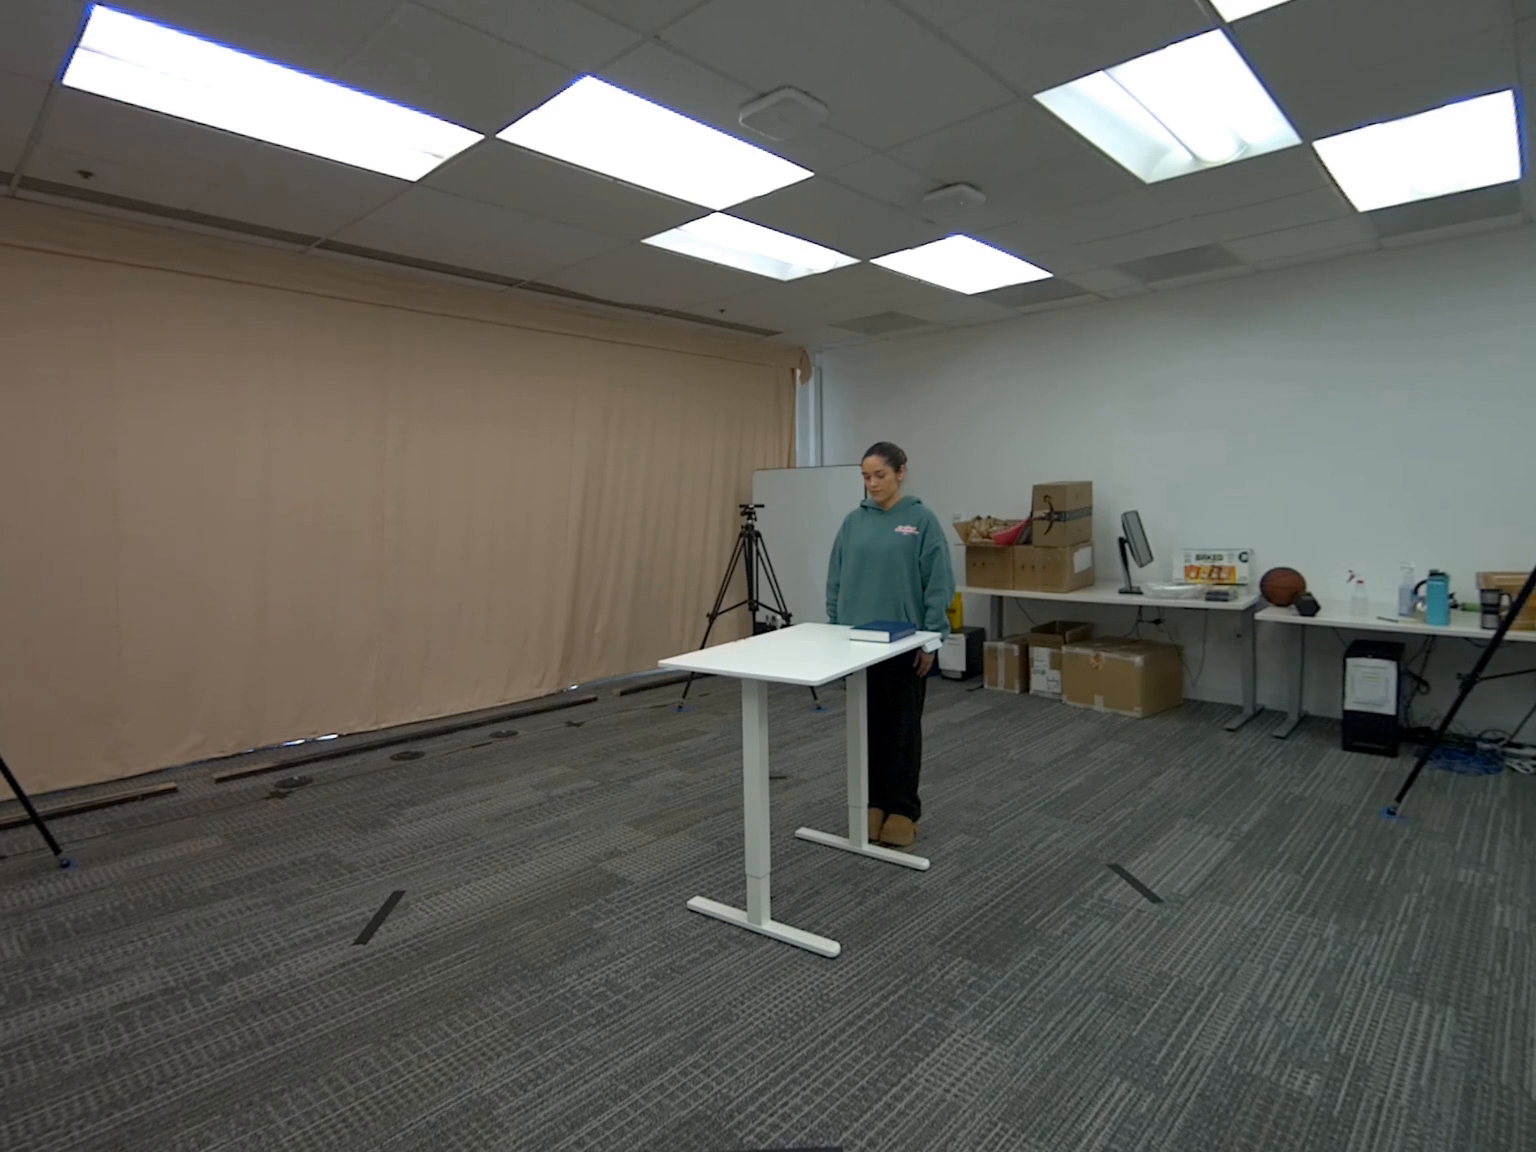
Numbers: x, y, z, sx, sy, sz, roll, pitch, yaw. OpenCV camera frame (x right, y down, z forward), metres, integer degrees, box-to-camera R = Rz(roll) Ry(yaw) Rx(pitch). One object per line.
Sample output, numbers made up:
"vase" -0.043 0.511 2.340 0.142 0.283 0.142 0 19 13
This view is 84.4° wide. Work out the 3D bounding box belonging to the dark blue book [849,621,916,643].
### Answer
"dark blue book" 0.438 0.209 3.168 0.168 0.045 0.238 3 6 32
